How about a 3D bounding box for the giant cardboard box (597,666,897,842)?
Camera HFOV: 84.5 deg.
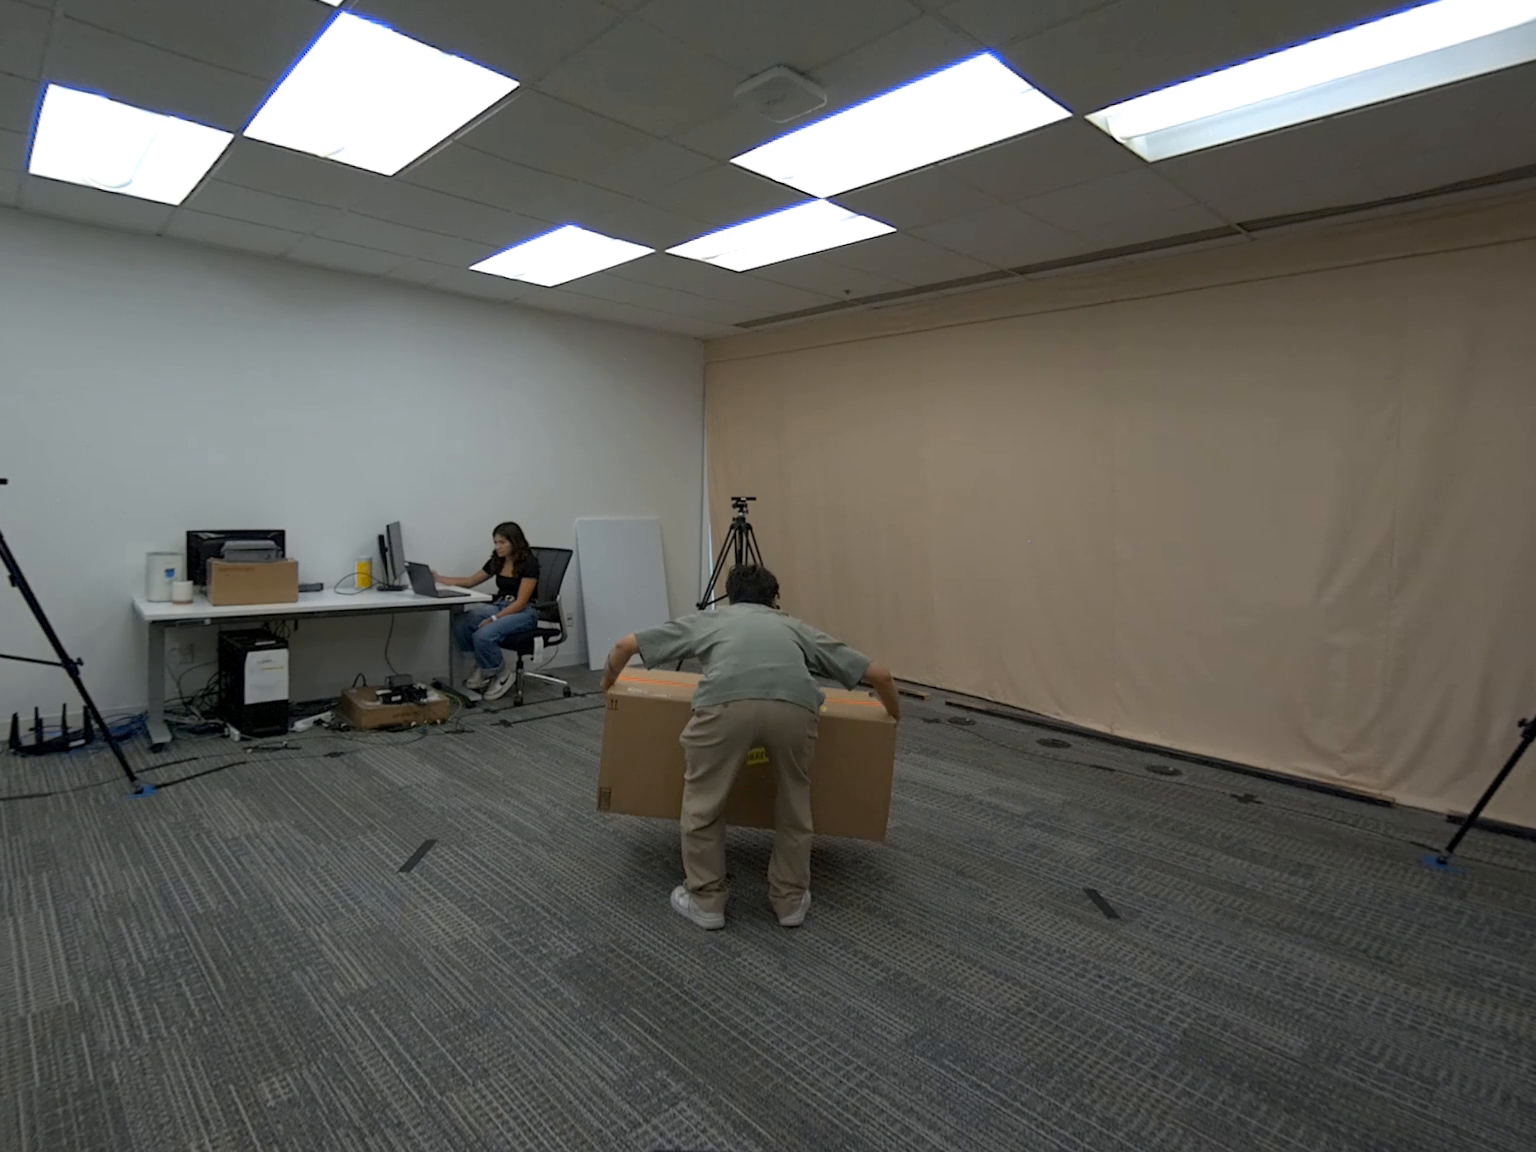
[{"bbox_3d":[-0.097,0.648,3.222,1.025,0.425,0.579,6,3,-1],"label":"giant cardboard box"}]
